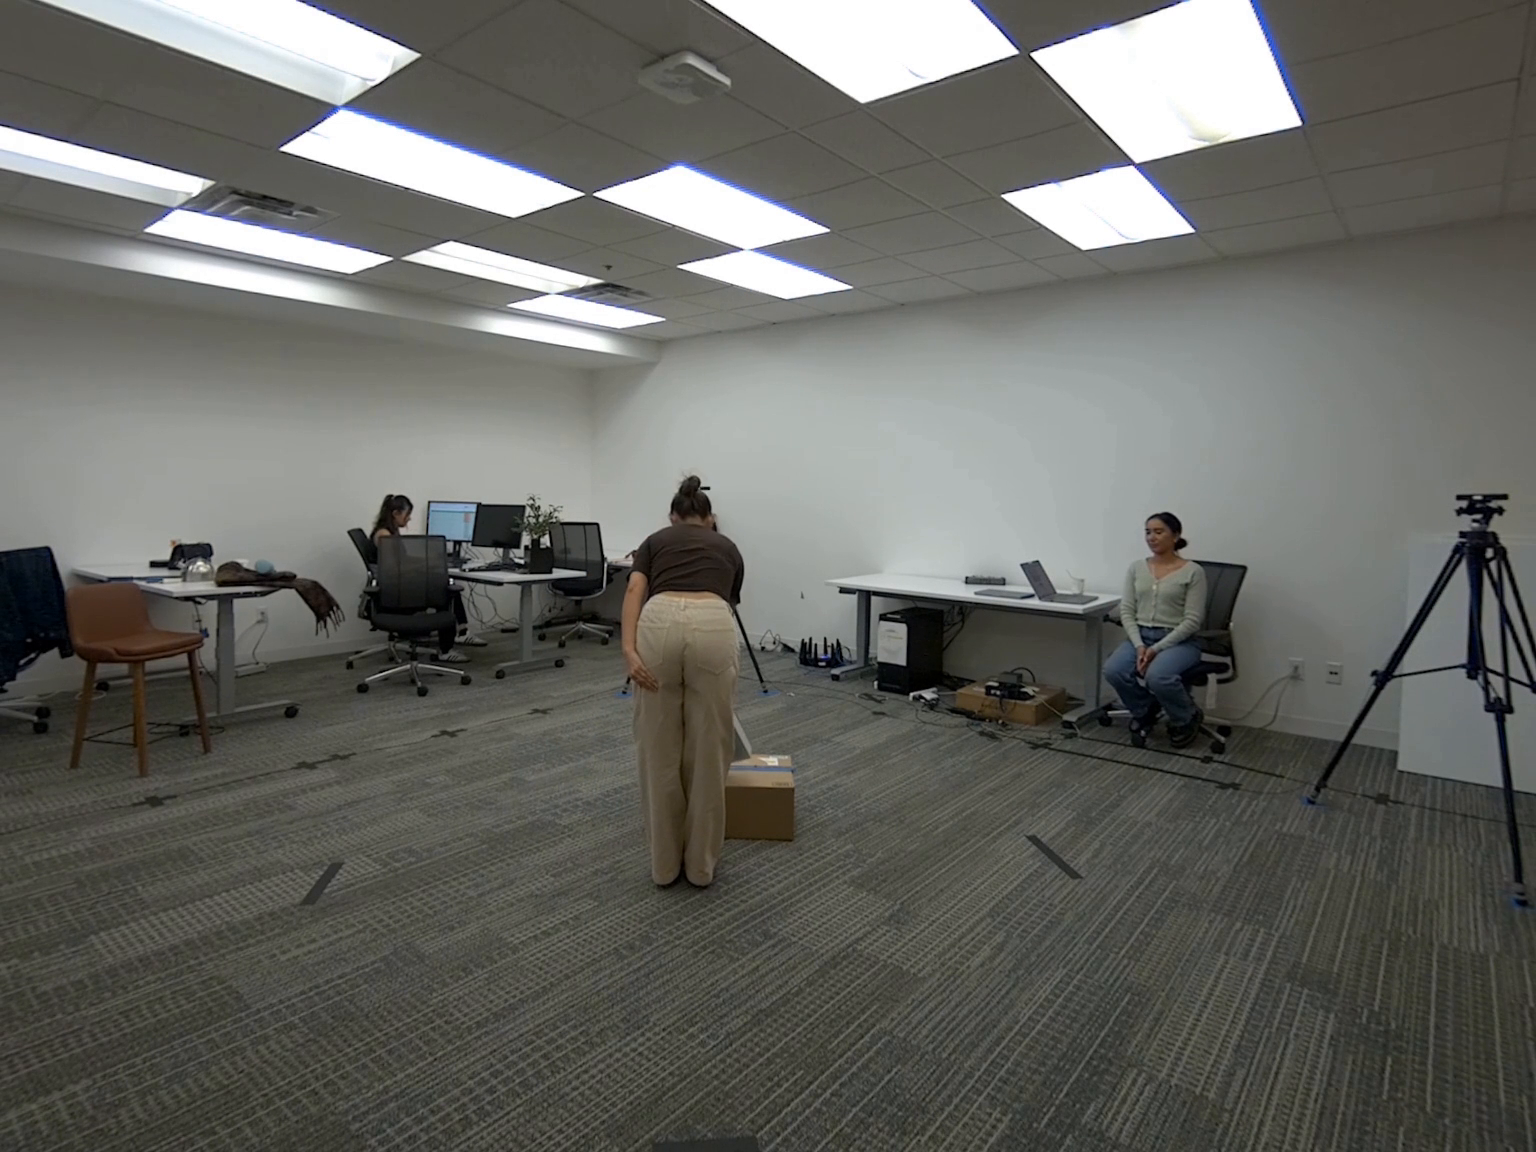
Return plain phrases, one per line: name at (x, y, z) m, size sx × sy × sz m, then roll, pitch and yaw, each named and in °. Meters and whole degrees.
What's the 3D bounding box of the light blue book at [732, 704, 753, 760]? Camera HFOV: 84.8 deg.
light blue book at (-0.198, 0.631, 3.402) m, size 0.193 × 0.252 × 0.060 m, roll -15°, pitch 30°, yaw 13°
